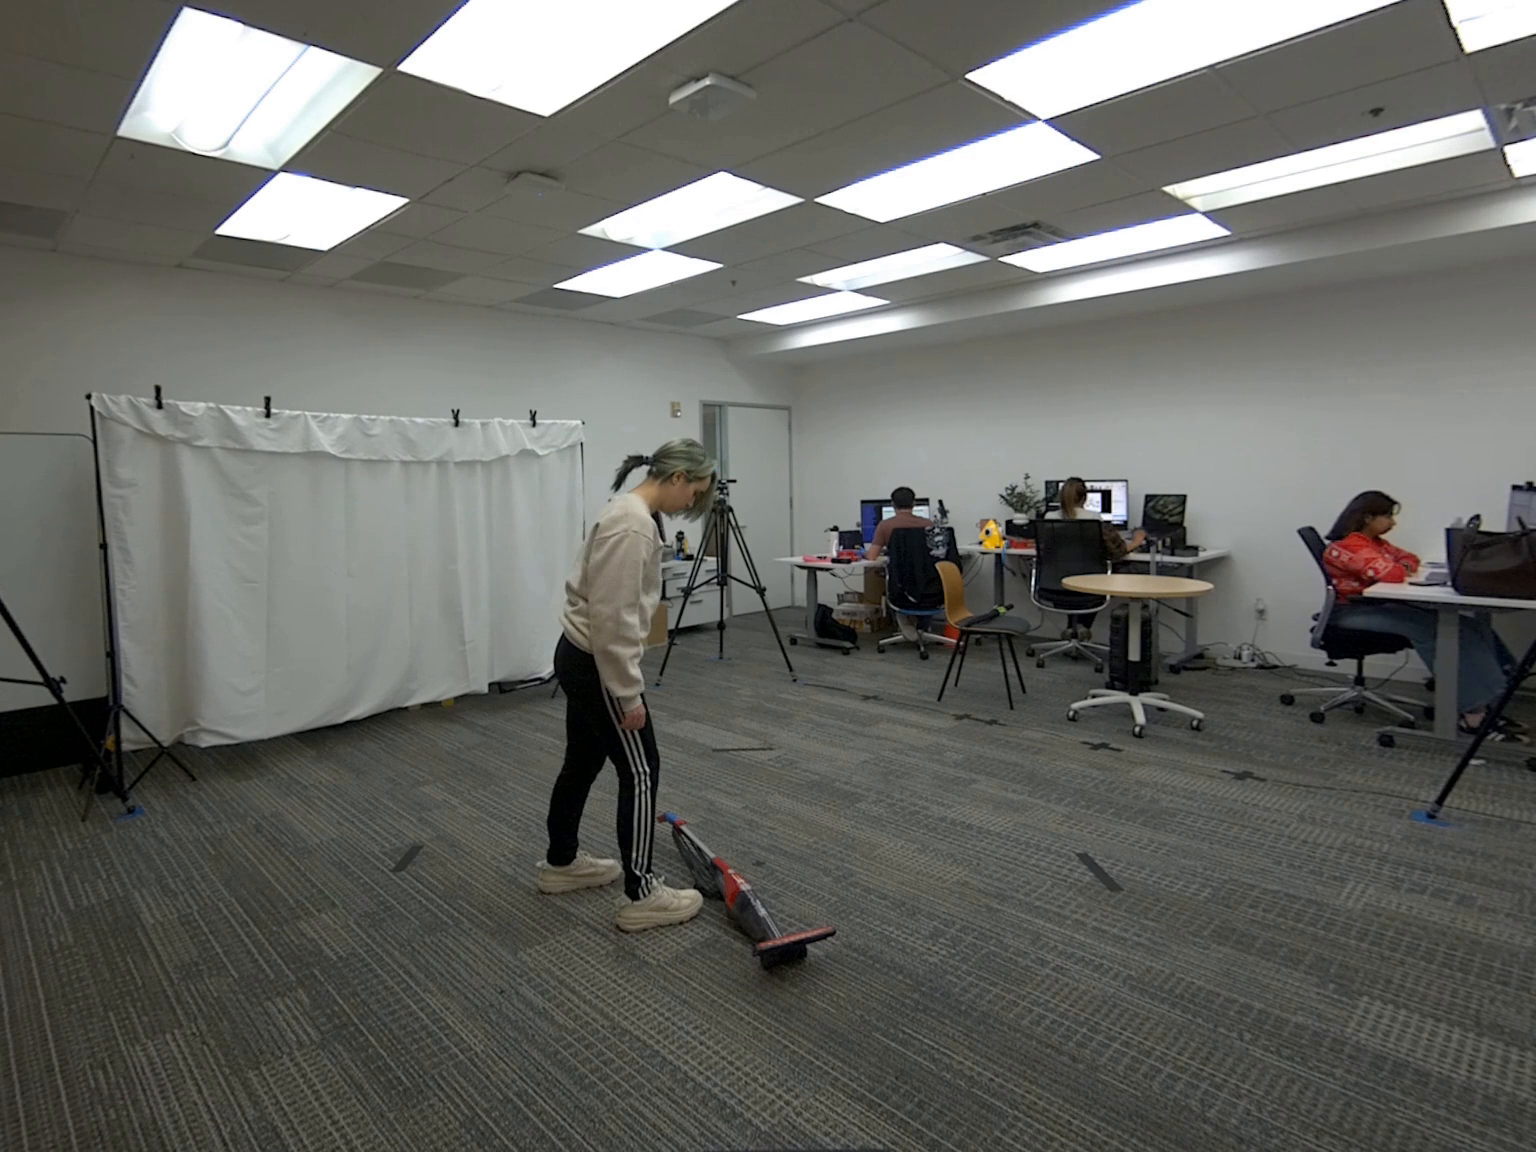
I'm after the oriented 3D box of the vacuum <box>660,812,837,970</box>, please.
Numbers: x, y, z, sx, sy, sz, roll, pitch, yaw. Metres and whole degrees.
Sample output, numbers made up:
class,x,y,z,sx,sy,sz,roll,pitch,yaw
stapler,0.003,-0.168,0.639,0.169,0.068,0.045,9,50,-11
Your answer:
class,x,y,z,sx,sy,sz,roll,pitch,yaw
vacuum,-0.183,1.012,2.901,0.247,0.143,1.077,-4,7,-27
